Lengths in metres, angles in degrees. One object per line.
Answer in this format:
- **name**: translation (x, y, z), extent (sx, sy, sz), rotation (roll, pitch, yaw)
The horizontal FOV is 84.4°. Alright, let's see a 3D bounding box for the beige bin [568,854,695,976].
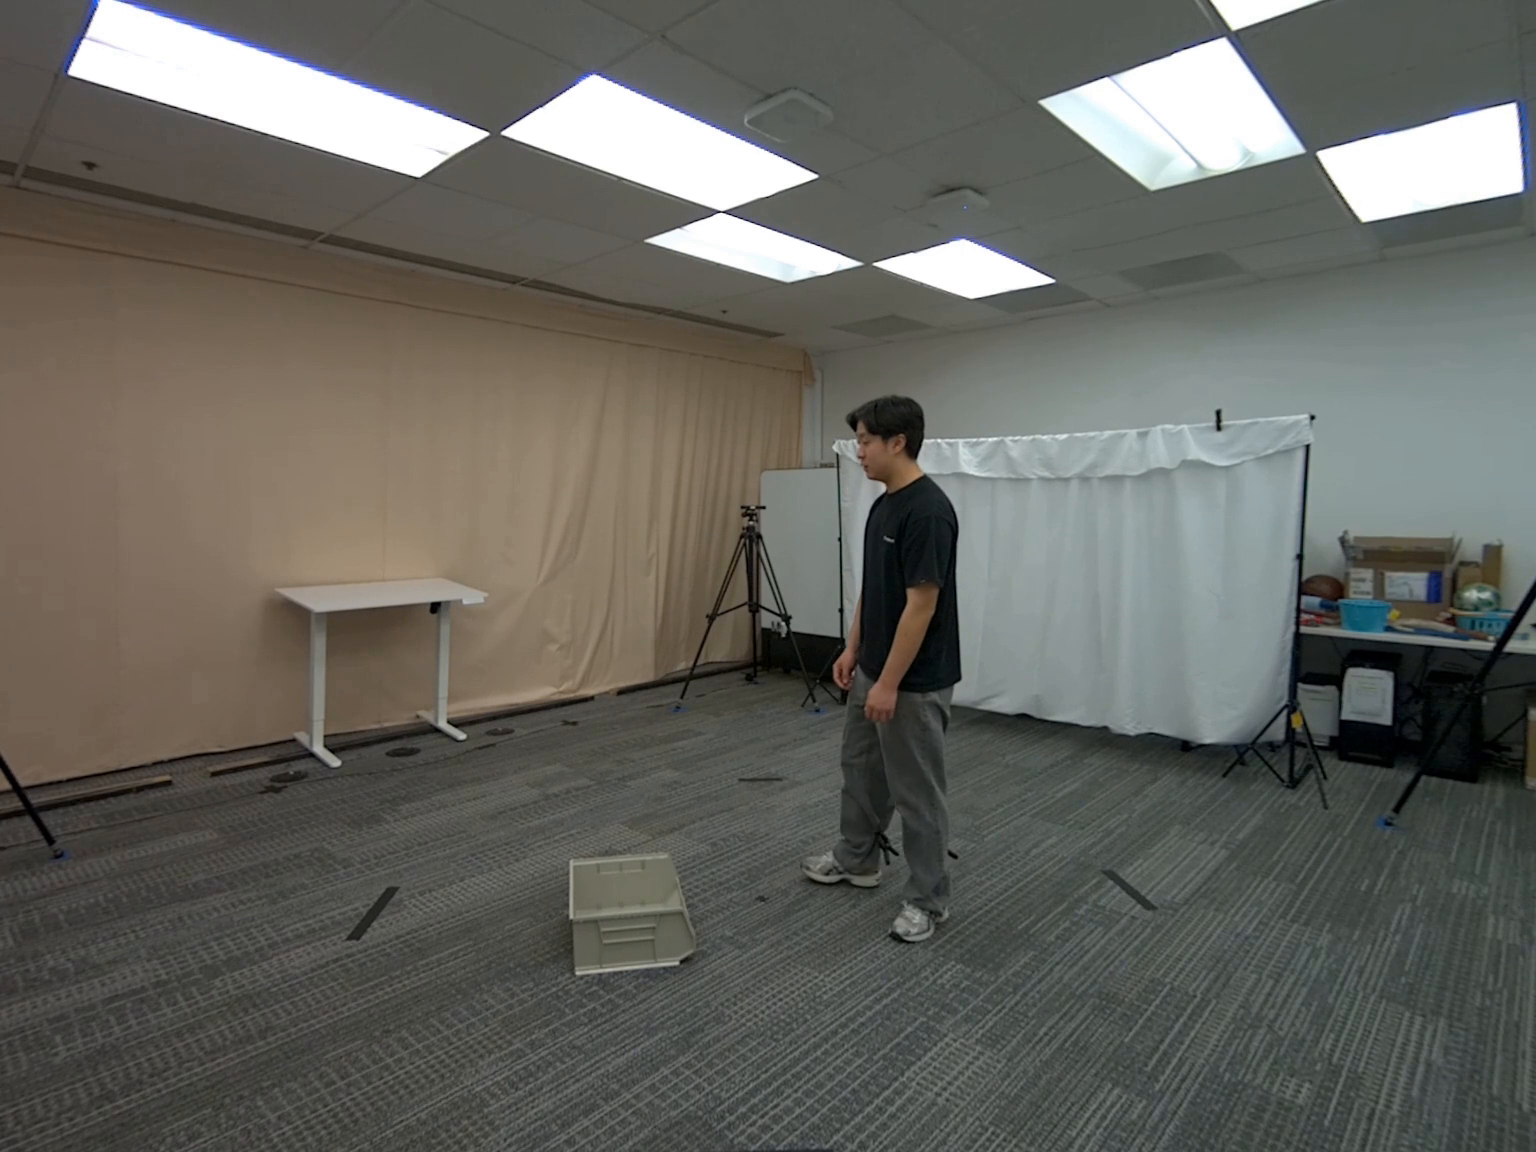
- **beige bin**: translation (-0.454, 1.088, 2.721), extent (0.372, 0.188, 0.429), rotation (-1, 6, -13)
